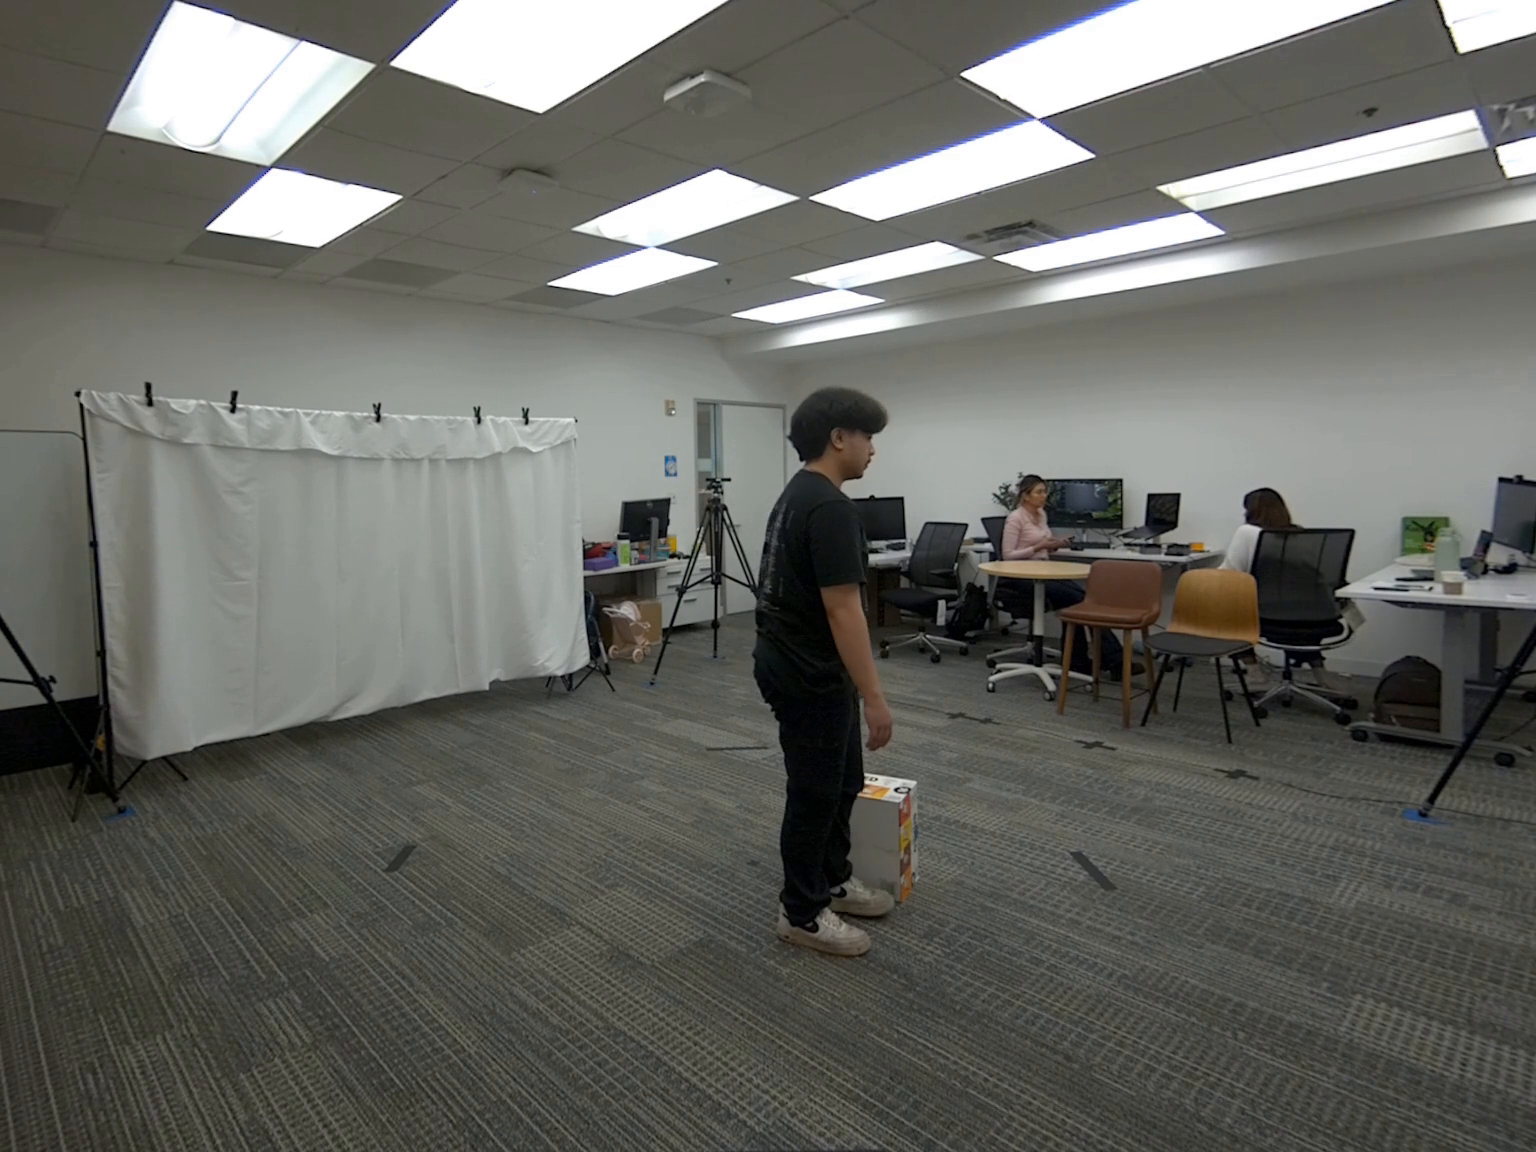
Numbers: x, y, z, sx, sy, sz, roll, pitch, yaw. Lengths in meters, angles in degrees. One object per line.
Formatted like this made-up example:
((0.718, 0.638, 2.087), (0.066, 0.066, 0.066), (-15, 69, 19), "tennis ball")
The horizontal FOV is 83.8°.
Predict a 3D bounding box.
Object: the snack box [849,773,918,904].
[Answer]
((0.297, 0.881, 2.965), (0.415, 0.339, 0.201), (1, 5, 28), "snack box")
